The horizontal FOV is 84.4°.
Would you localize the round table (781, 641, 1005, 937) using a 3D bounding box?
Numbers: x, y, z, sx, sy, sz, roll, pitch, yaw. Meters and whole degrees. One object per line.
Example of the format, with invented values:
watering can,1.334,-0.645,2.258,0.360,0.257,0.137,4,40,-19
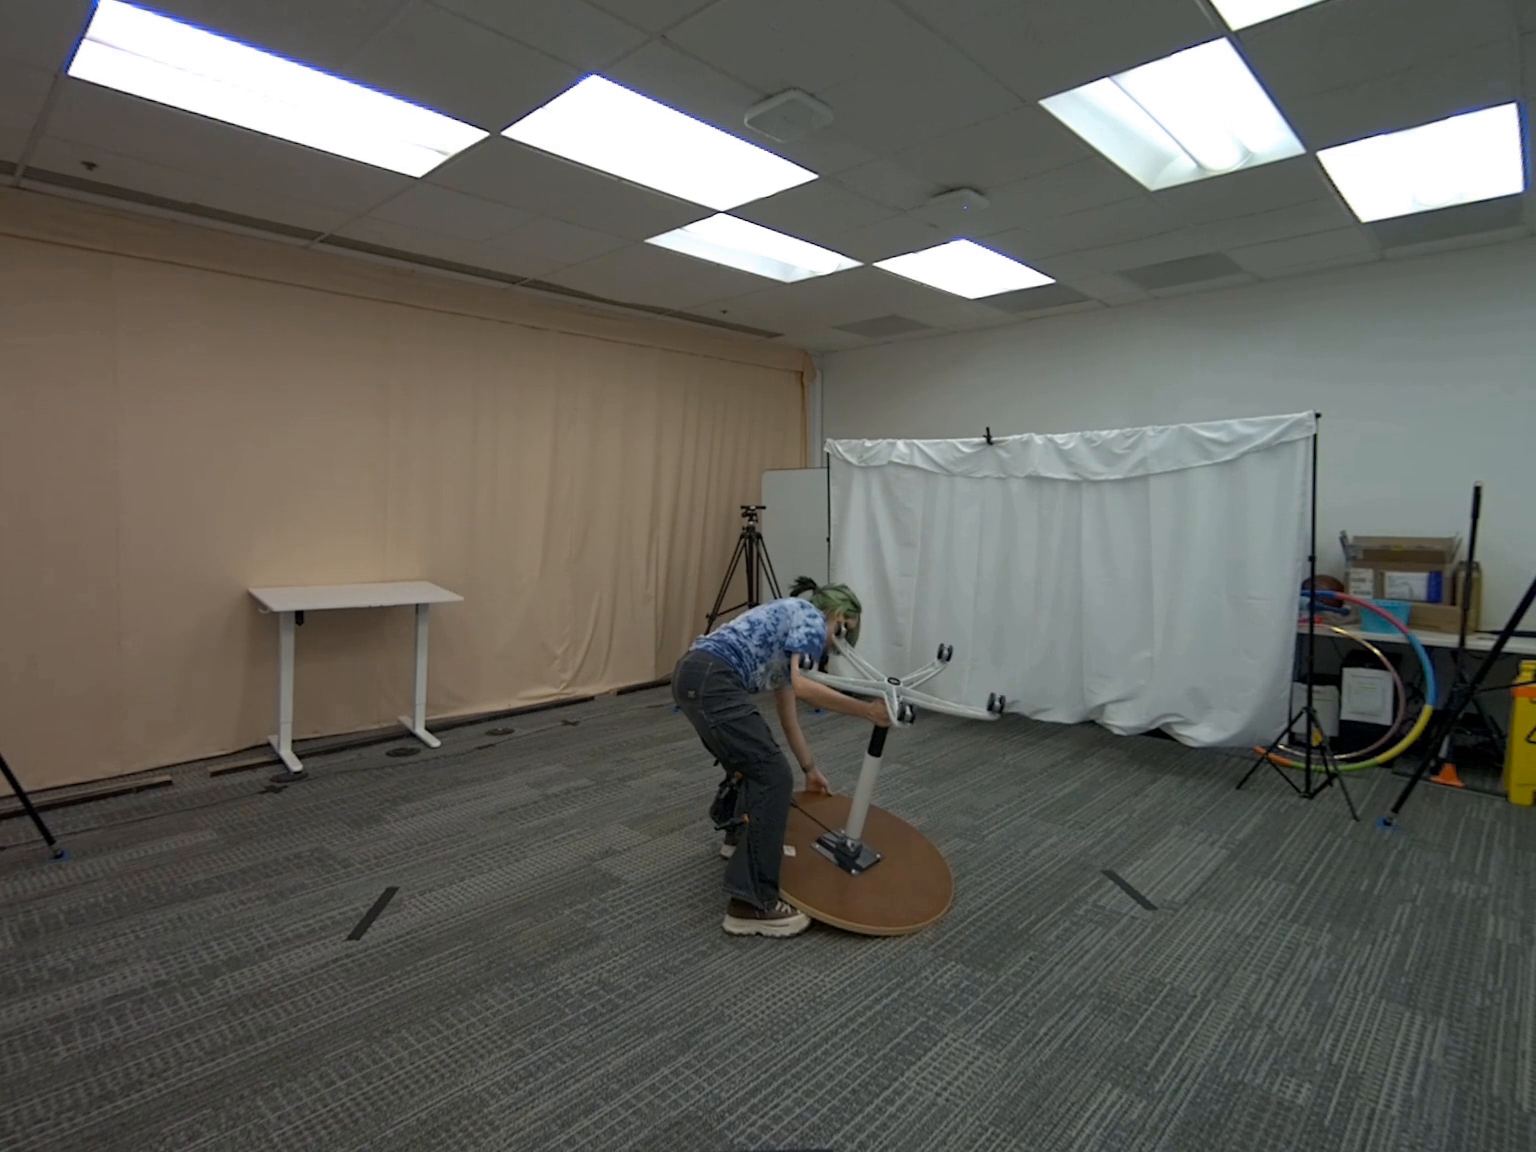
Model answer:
round table,0.369,0.663,2.941,0.761,0.789,0.773,10,16,-5
